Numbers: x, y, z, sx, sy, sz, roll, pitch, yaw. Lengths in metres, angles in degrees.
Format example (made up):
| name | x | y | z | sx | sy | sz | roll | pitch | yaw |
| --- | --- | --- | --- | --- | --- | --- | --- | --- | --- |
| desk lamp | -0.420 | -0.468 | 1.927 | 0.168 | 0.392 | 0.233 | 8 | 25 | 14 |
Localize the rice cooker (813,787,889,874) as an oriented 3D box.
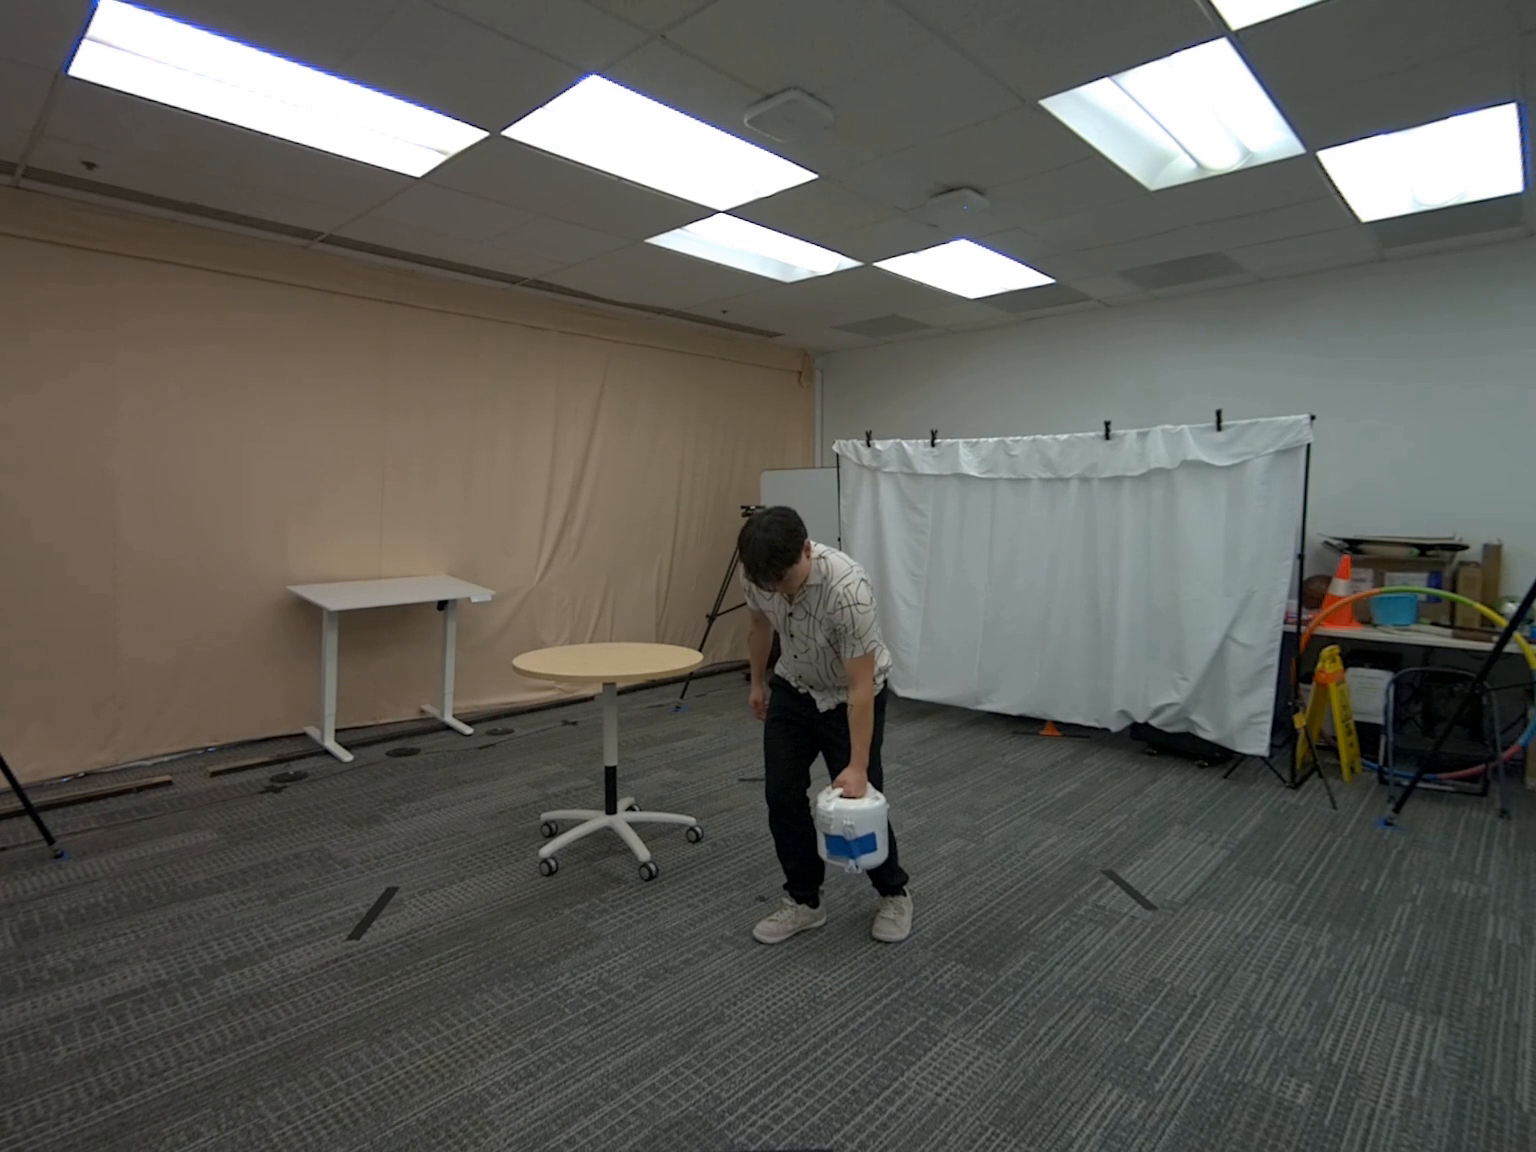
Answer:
| name | x | y | z | sx | sy | sz | roll | pitch | yaw |
| --- | --- | --- | --- | --- | --- | --- | --- | --- | --- |
| rice cooker | 0.248 | 0.729 | 2.509 | 0.214 | 0.232 | 0.224 | -2 | 3 | -34 |
